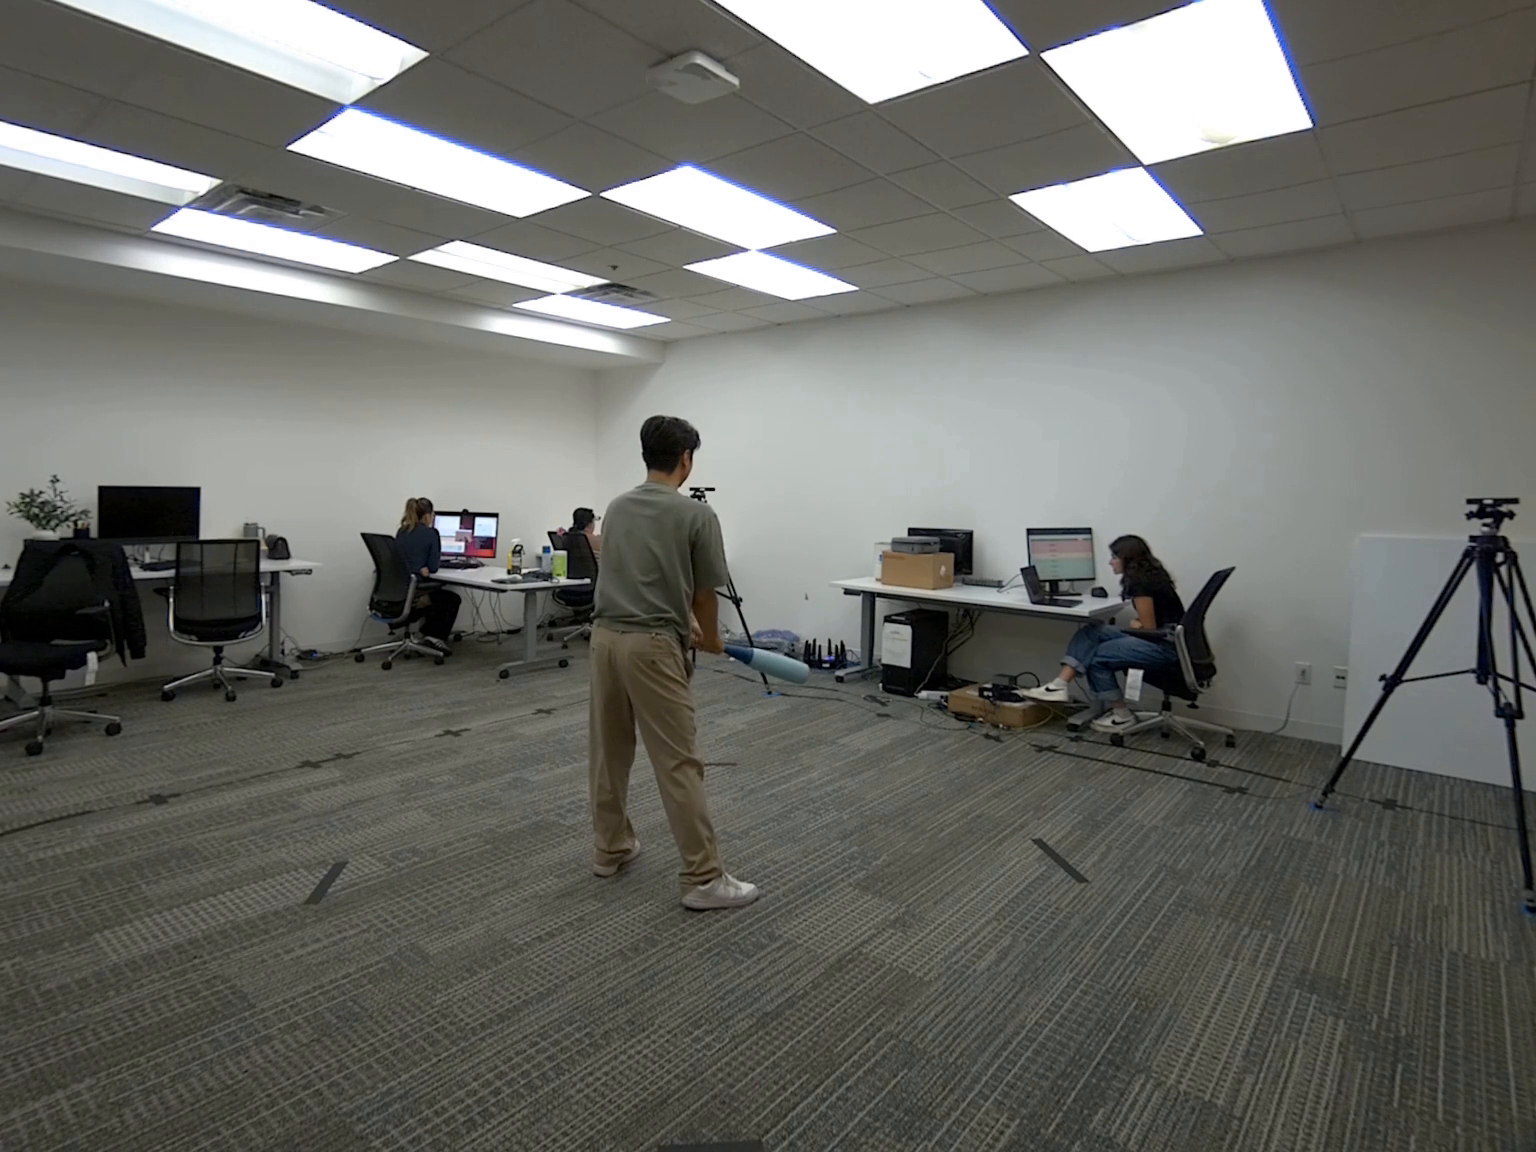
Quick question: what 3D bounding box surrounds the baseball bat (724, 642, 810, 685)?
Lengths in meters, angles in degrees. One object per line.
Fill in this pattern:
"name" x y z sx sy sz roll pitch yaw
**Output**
"baseball bat" -0.107 0.296 3.255 0.531 0.089 0.091 18 -2 -18
